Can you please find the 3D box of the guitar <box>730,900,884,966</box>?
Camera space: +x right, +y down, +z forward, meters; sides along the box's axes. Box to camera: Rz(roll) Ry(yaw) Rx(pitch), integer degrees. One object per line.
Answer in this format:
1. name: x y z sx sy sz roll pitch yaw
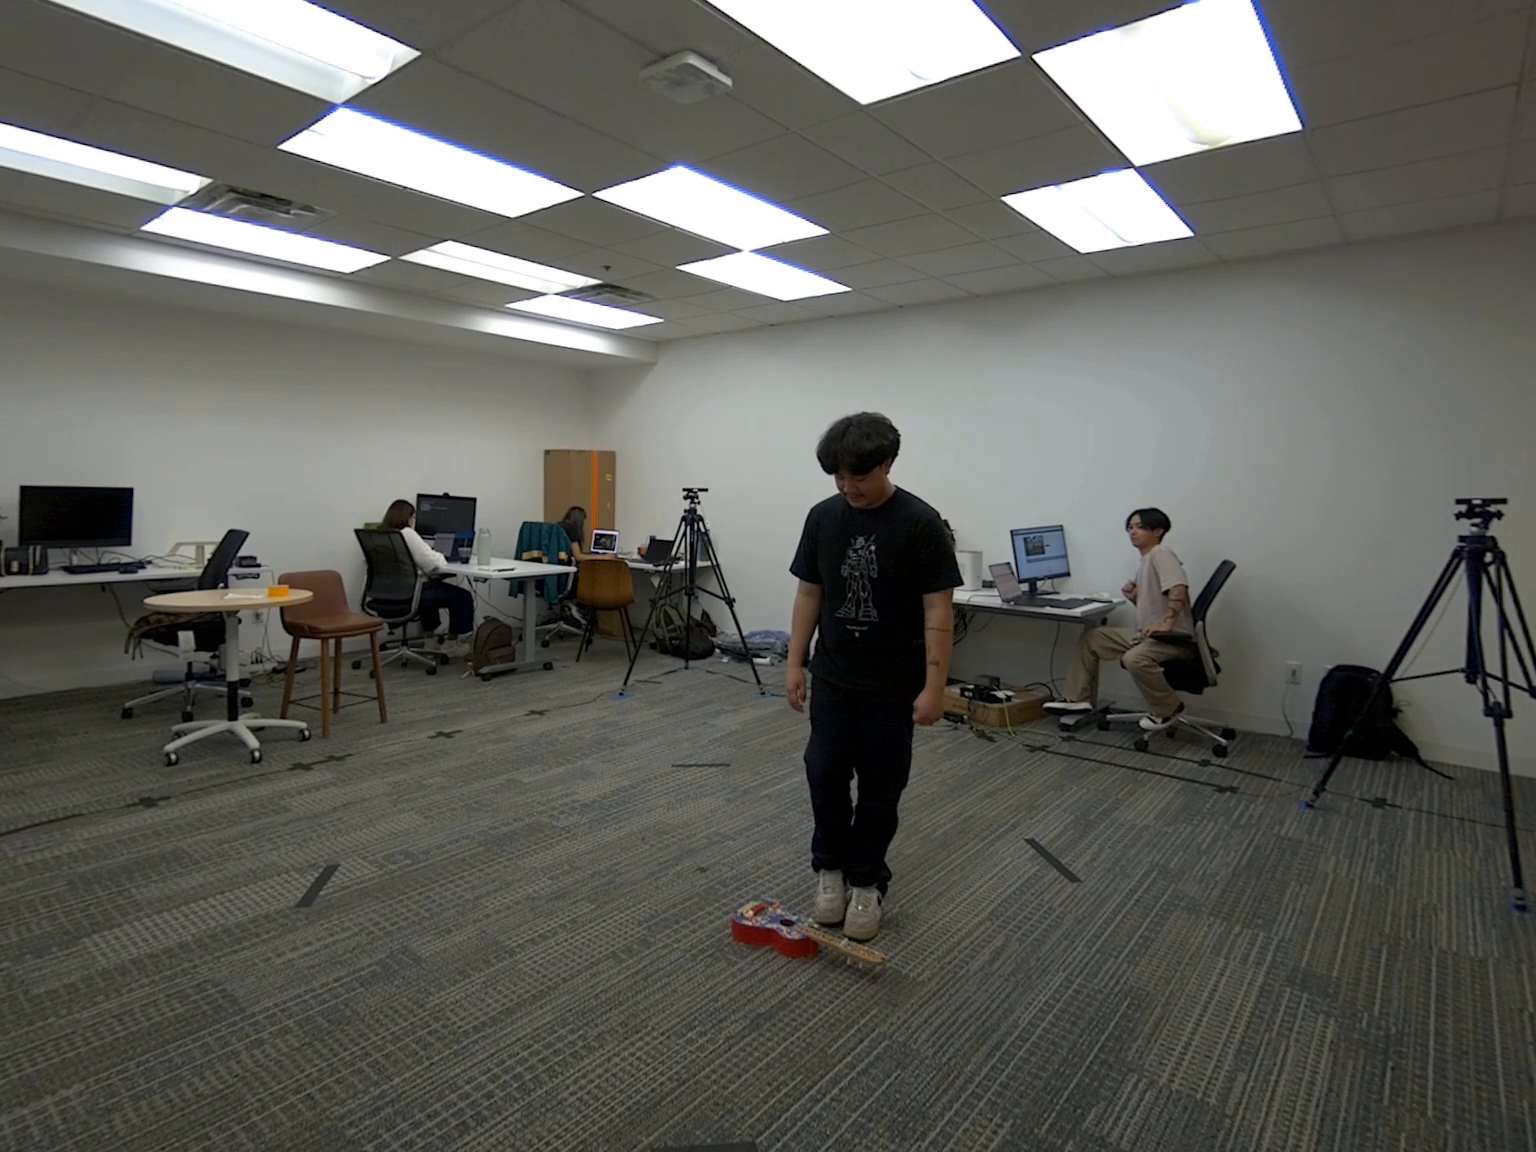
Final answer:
1. guitar: 0.096 1.097 2.550 0.187 0.070 0.515 -4 7 -45
